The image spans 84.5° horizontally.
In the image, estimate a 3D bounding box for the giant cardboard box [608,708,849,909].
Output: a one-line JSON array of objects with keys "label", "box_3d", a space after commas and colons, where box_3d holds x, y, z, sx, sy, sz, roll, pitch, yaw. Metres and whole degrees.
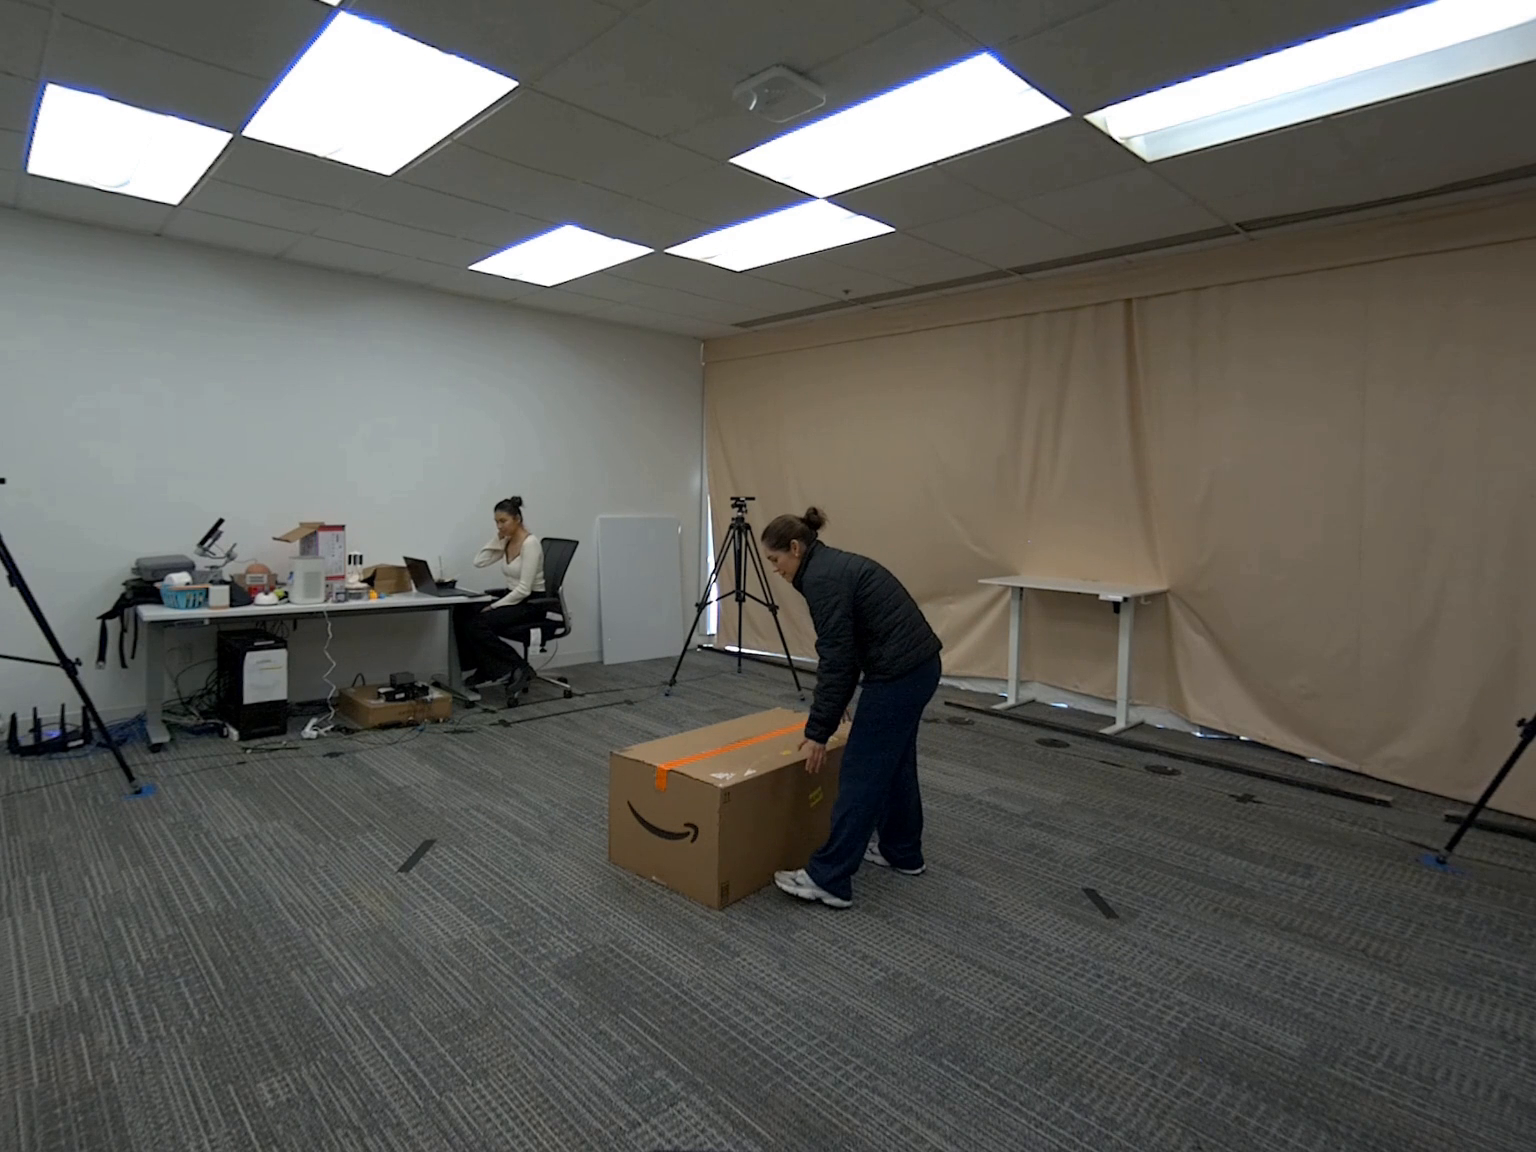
[{"label": "giant cardboard box", "box_3d": [-0.069, 0.870, 3.380, 0.592, 0.425, 1.003, 6, 6, 39]}]
